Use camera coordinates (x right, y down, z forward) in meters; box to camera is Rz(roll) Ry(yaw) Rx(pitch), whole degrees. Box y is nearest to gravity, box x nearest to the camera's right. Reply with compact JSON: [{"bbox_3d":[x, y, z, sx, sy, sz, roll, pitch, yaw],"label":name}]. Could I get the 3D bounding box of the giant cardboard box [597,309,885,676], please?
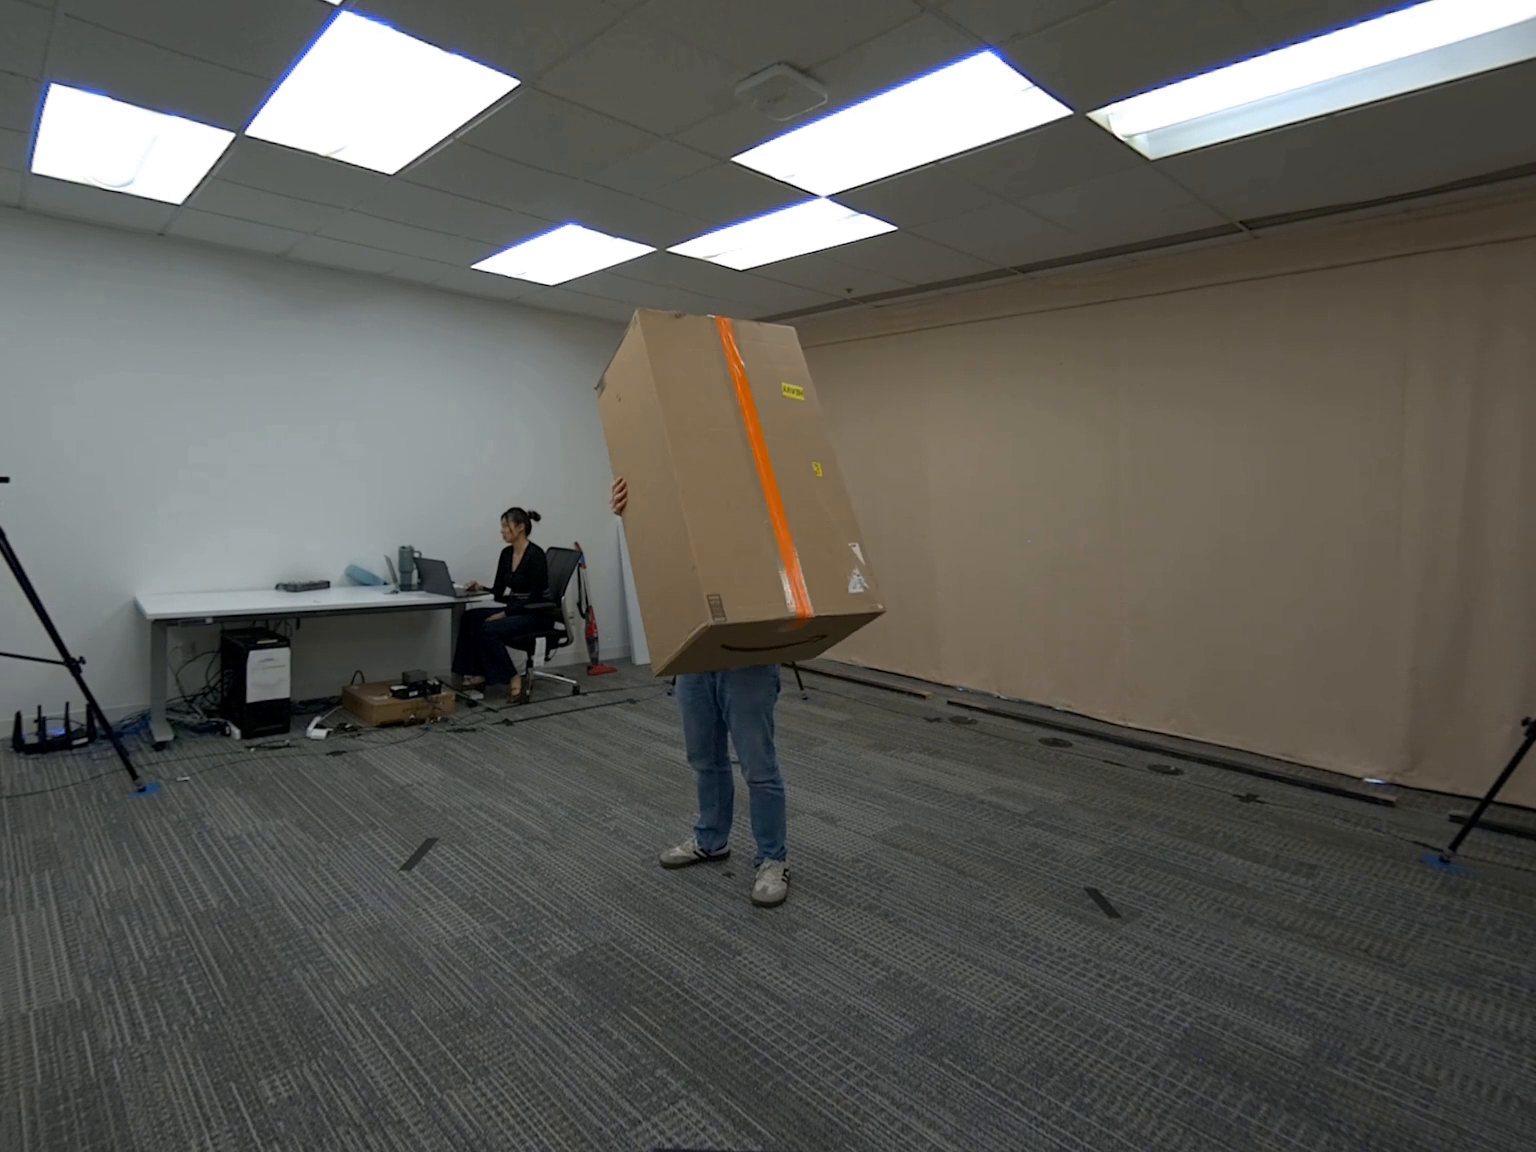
[{"bbox_3d":[-0.129,-0.269,2.626,0.566,1.045,0.427,-2,-25,-31],"label":"giant cardboard box"}]
